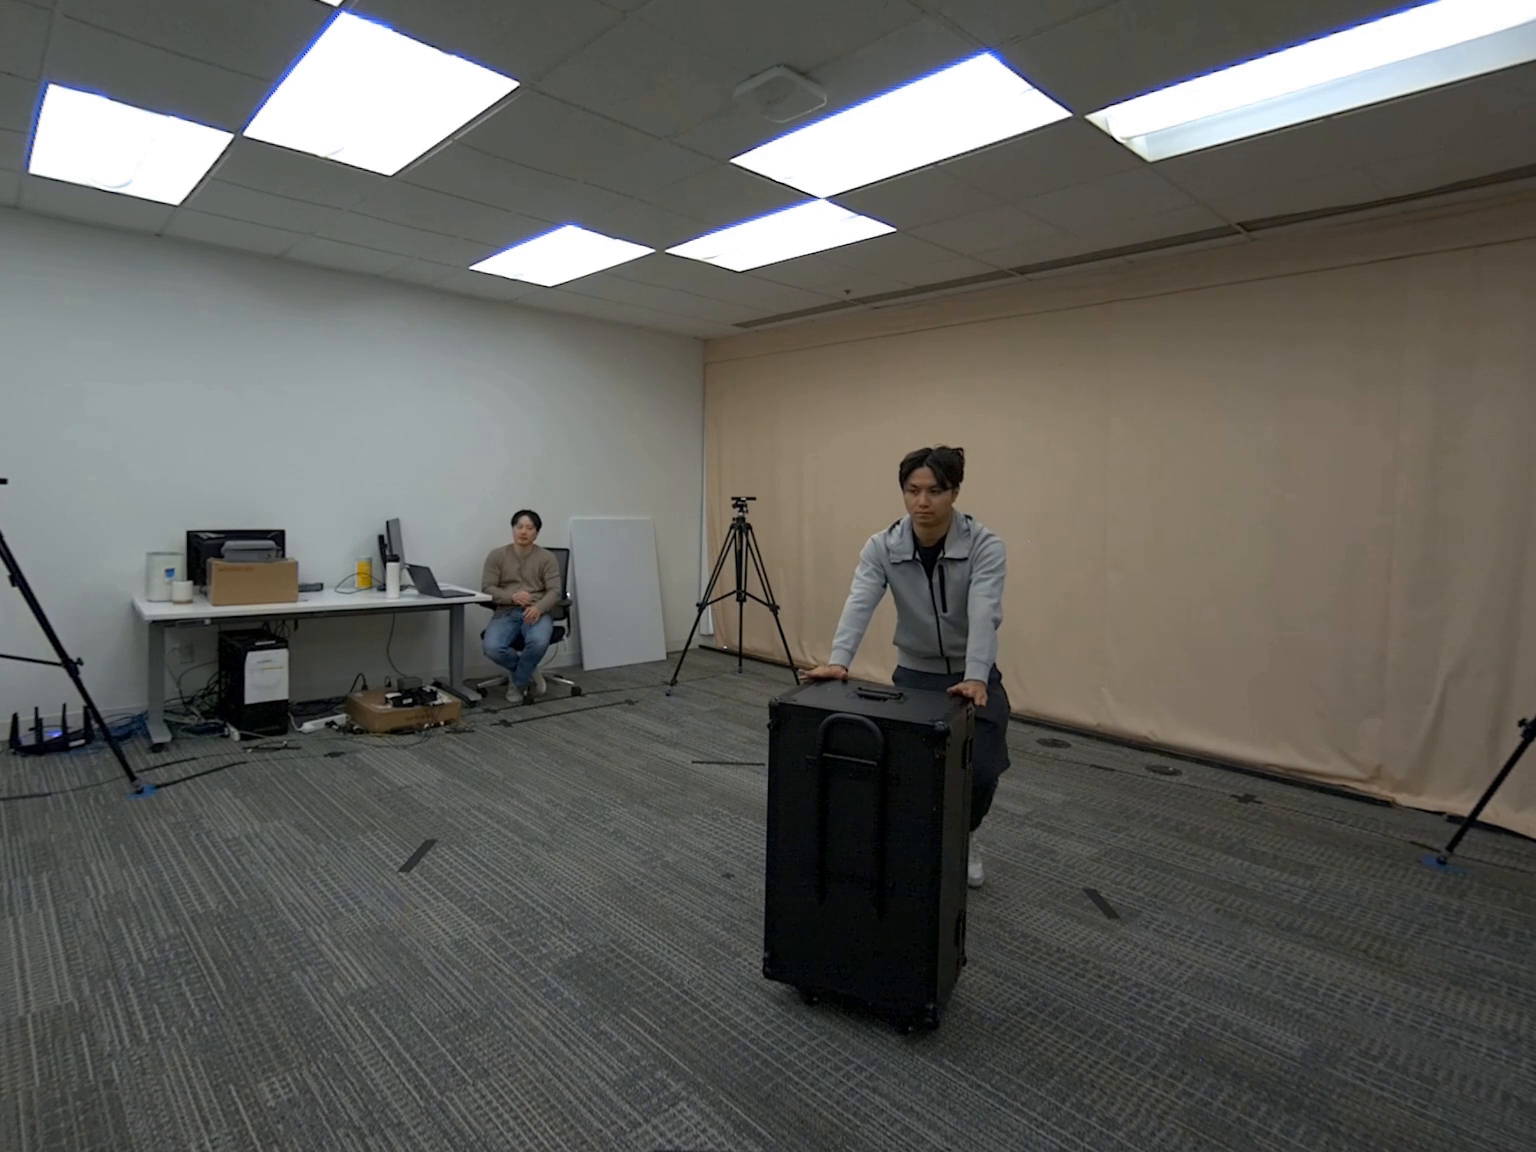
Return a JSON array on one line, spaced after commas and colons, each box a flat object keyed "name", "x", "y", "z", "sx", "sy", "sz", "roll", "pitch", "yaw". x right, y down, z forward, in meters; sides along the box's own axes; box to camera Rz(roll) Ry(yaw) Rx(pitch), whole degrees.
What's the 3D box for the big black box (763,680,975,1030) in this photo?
[{"name": "big black box", "x": 0.279, "y": 0.764, "z": 2.342, "sx": 0.532, "sy": 0.858, "sz": 0.389, "roll": 4, "pitch": 5, "yaw": 27}]
